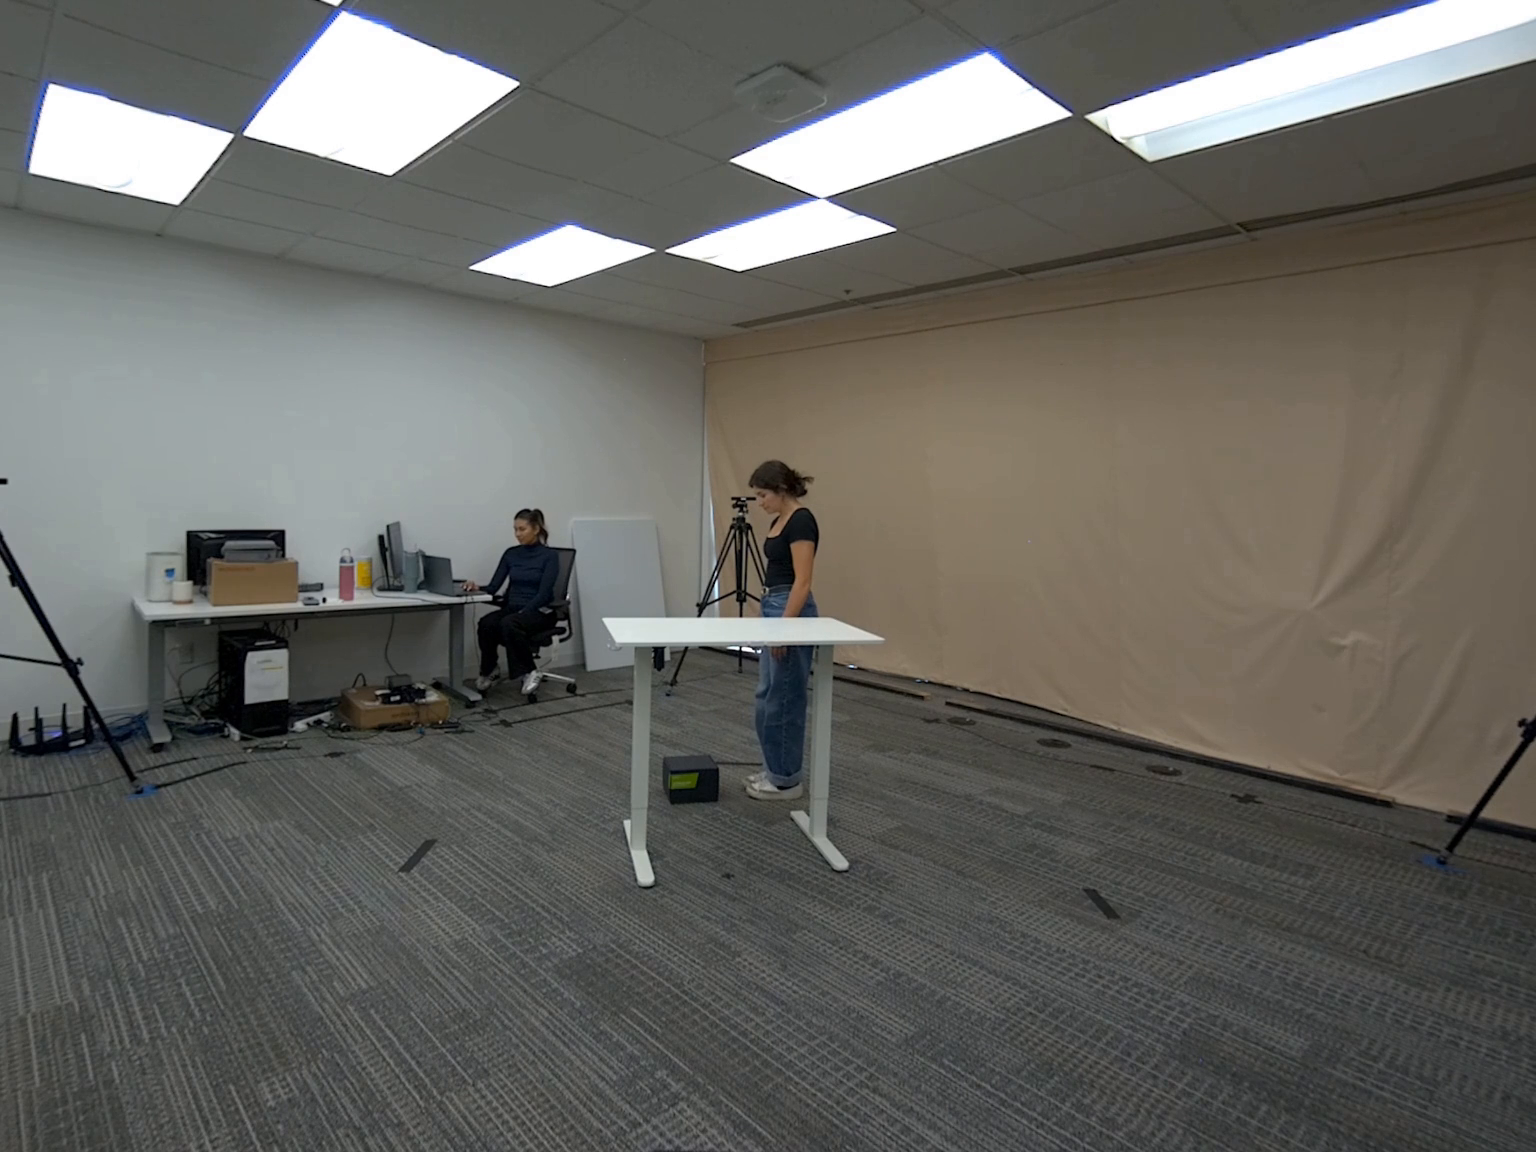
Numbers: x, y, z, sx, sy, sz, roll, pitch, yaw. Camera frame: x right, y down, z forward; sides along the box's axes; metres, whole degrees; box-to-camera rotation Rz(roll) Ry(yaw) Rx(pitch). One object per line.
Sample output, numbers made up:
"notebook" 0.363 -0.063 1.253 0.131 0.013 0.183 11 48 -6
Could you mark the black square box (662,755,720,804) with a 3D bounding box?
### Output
"black square box" -0.372 0.944 3.944 0.225 0.155 0.220 0 5 -15
